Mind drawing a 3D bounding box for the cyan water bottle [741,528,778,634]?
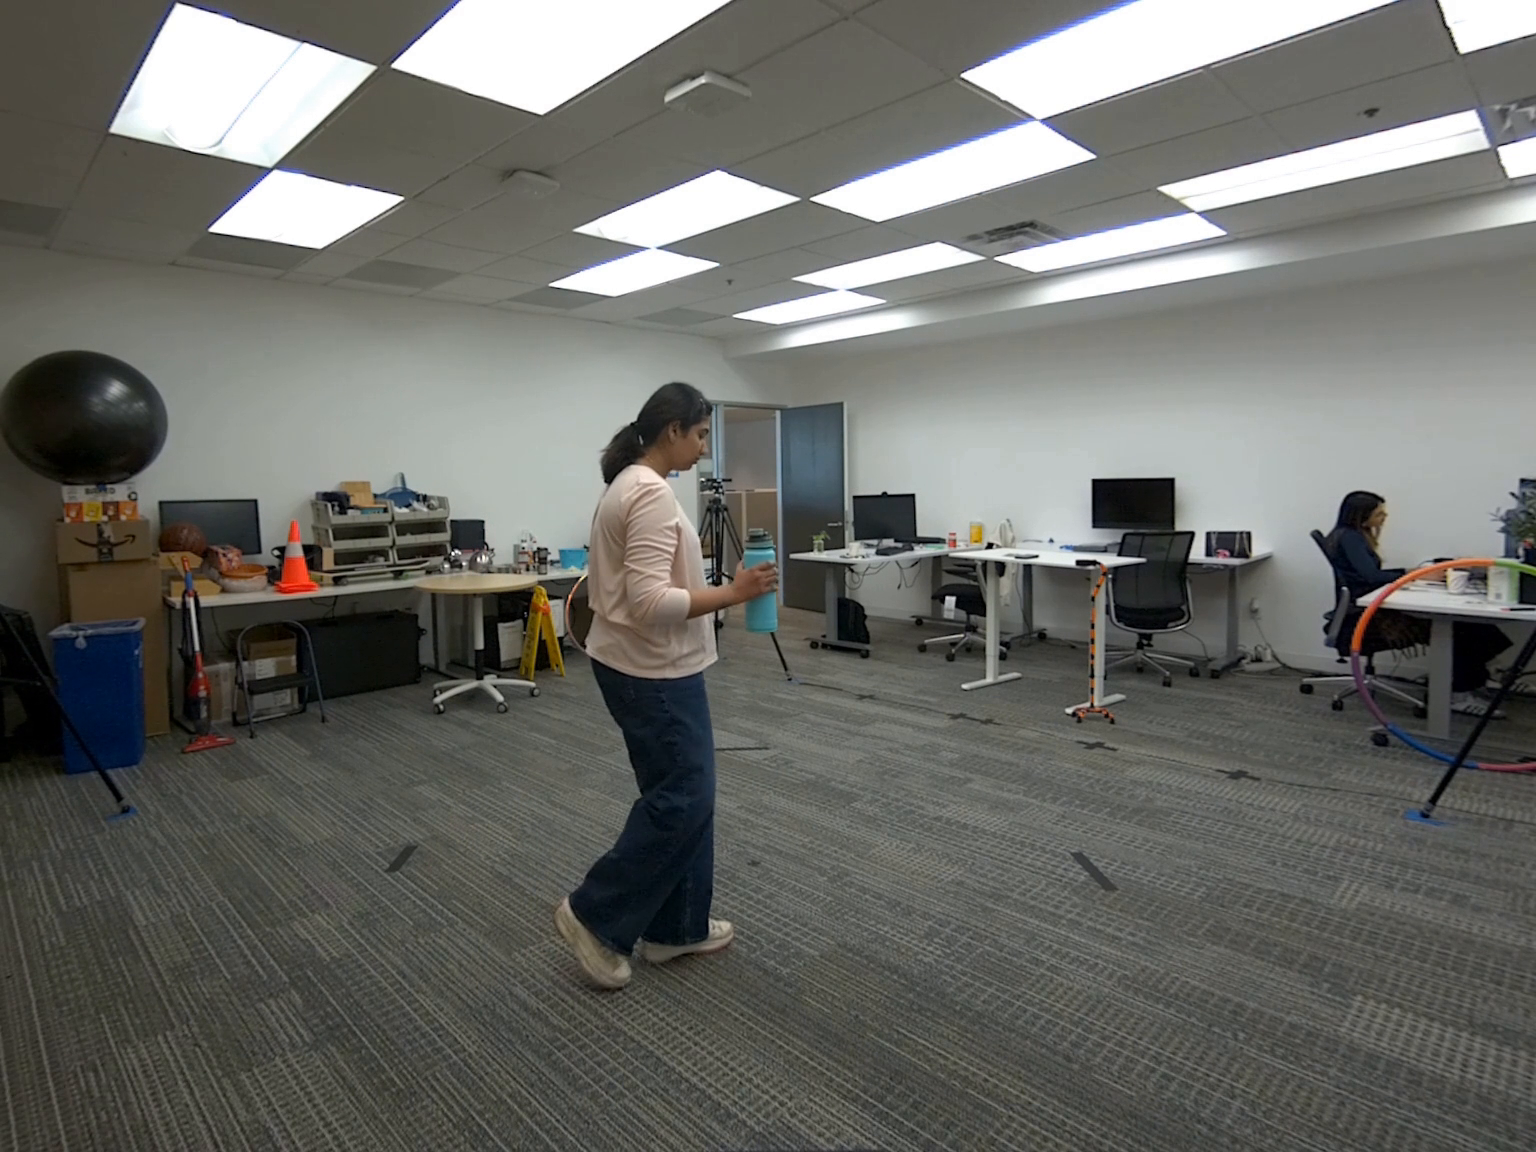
[{"bbox_3d":[-0.027,0.011,2.362,0.092,0.283,0.093,0,3,-2],"label":"cyan water bottle"}]
